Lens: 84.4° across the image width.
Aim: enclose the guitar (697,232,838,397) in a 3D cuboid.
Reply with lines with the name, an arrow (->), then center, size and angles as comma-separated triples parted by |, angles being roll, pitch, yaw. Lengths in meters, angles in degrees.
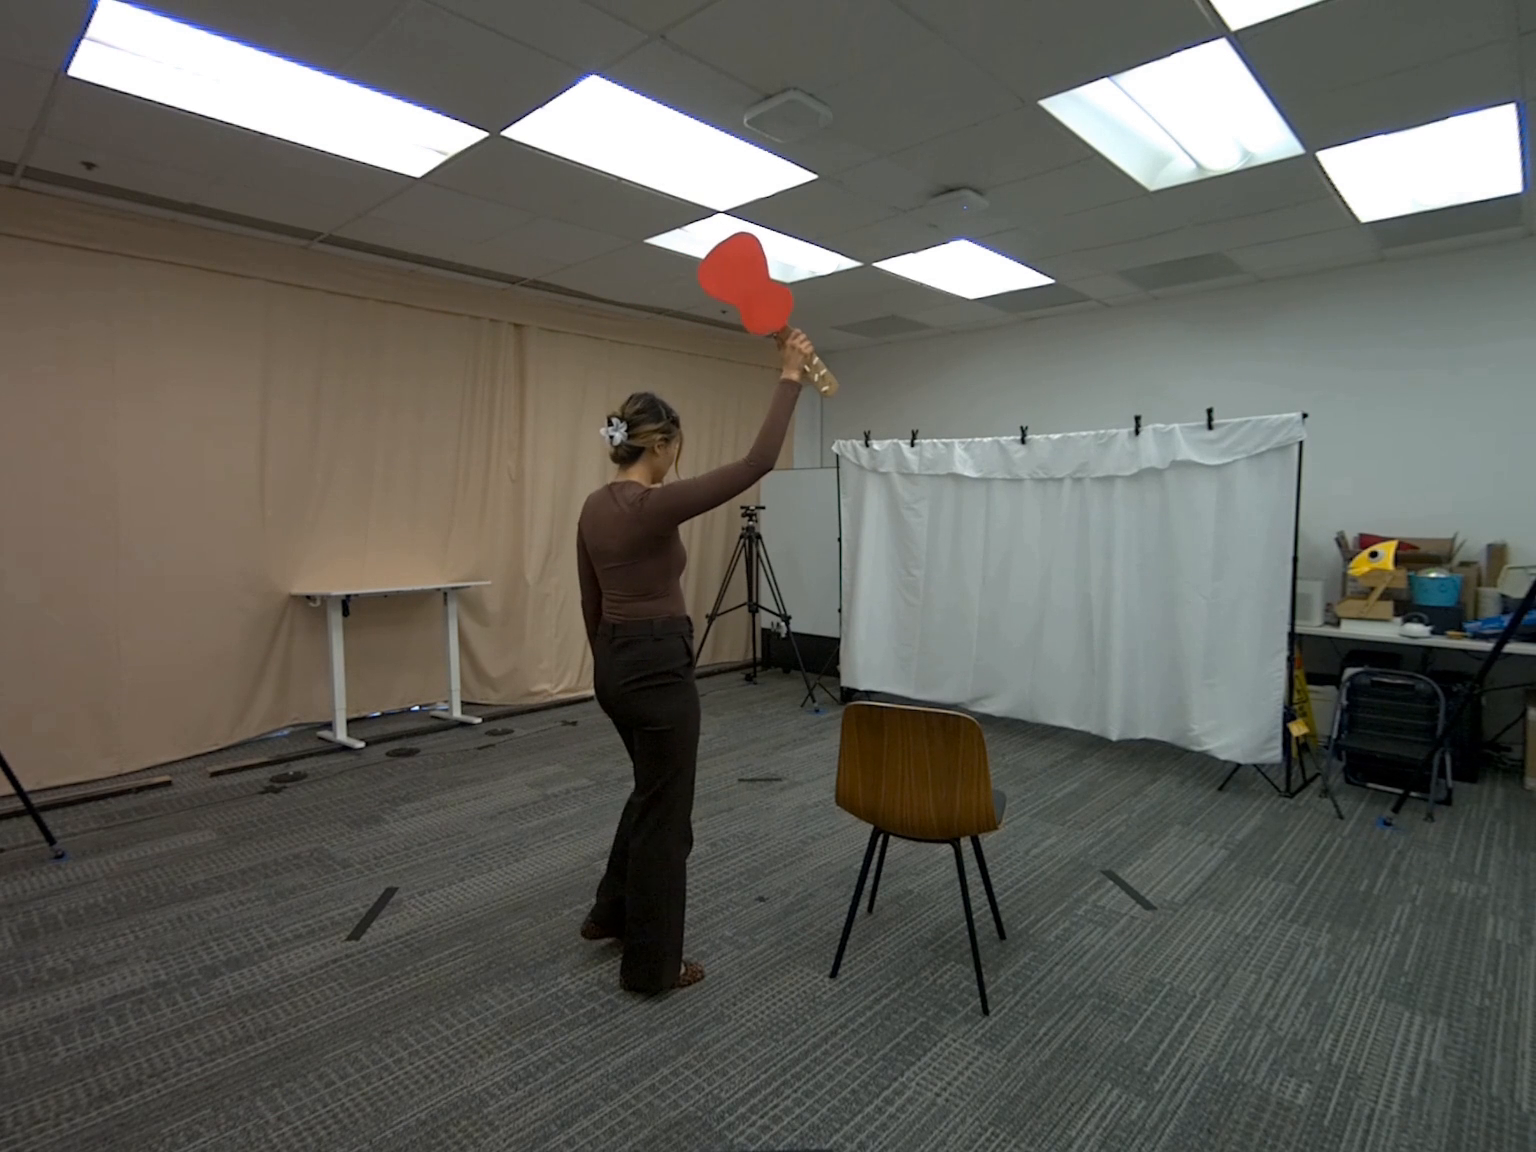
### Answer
guitar -> 0.037, -0.708, 2.261 | 0.496, 0.193, 0.071 | 43, 7, -3
